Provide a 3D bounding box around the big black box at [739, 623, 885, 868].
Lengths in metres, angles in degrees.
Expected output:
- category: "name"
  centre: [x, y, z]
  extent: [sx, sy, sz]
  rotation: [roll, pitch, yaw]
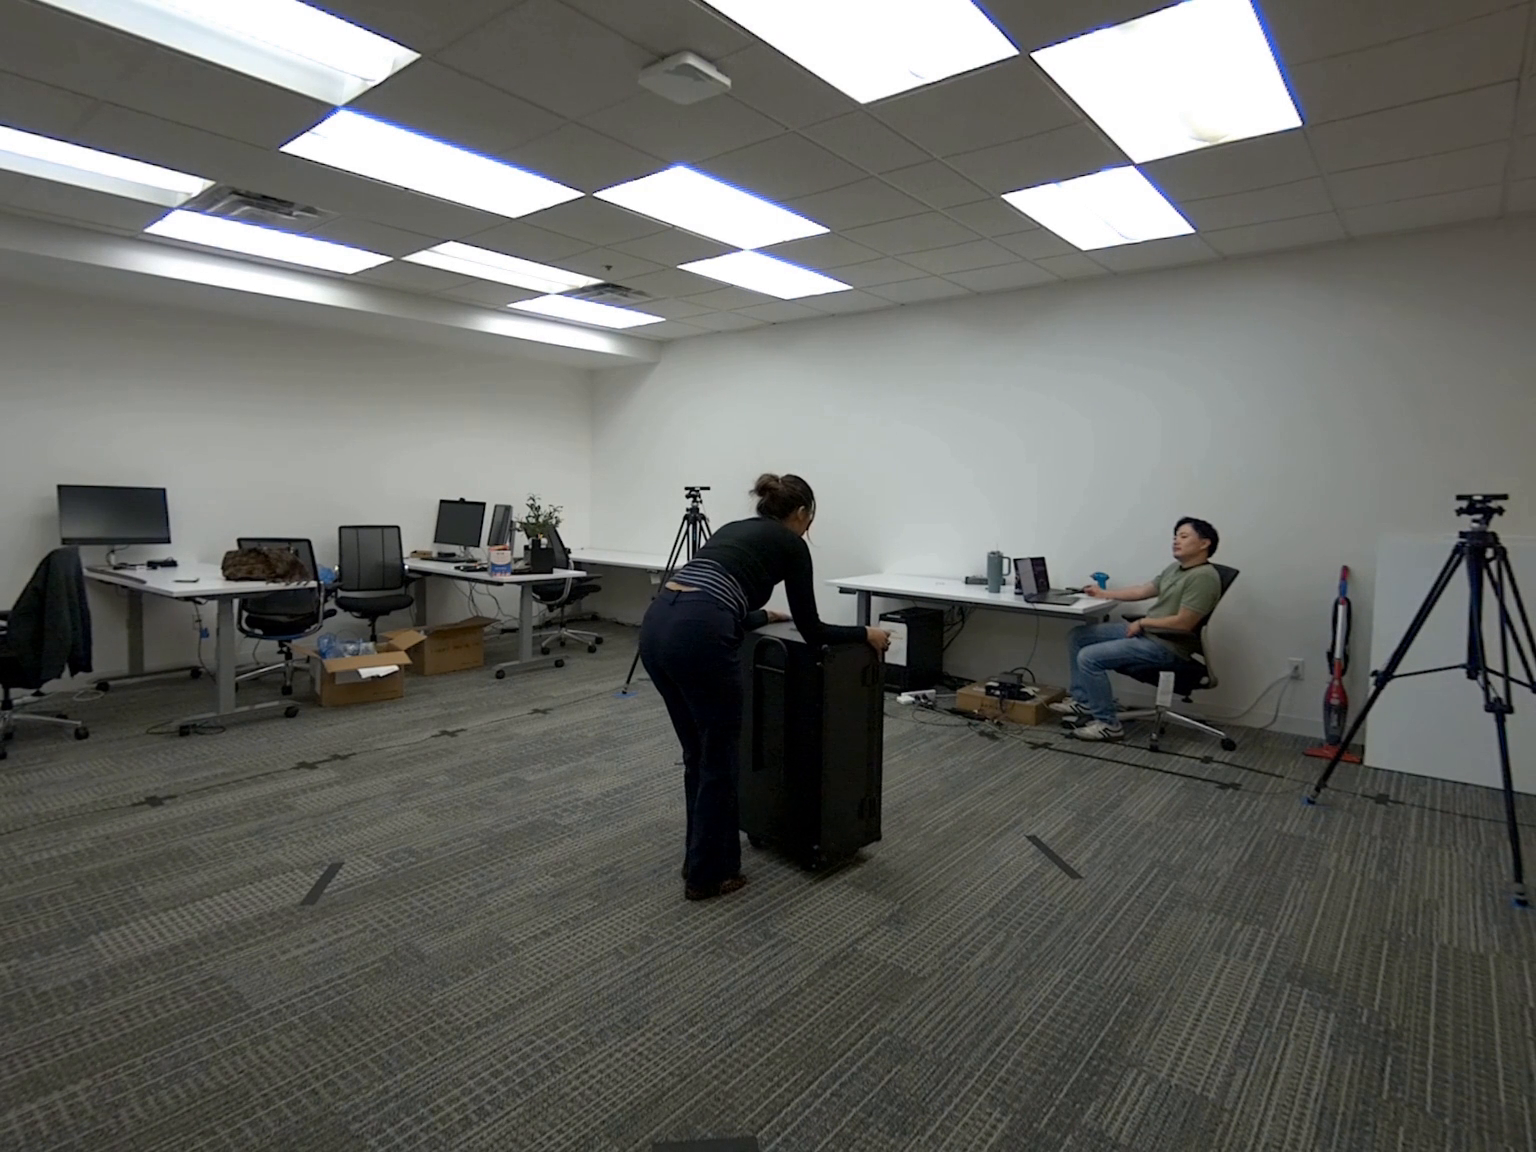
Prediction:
- category: "big black box"
  centre: [0.133, 0.631, 3.243]
  extent: [0.384, 0.858, 0.539]
  rotation: [-3, 6, -43]
